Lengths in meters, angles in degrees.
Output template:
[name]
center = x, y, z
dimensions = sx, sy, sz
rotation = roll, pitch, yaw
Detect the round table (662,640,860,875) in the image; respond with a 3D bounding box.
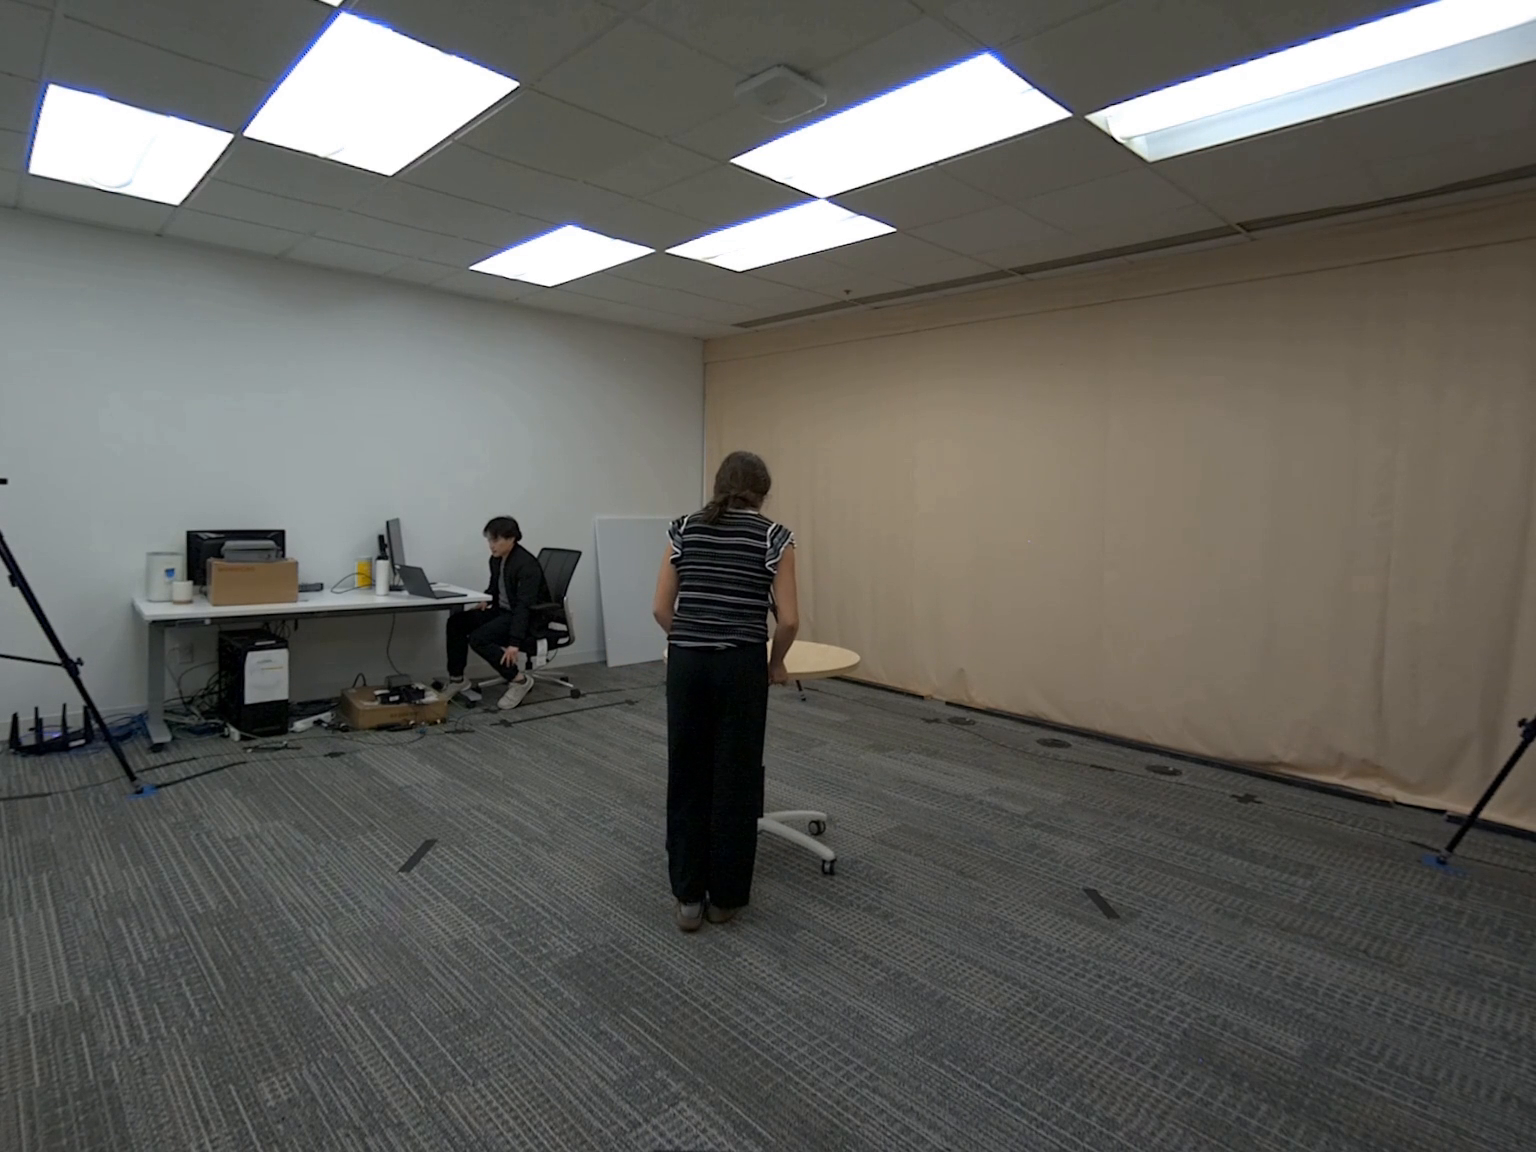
[round table]
center = -0.028, 0.696, 3.320
dimensions = 0.784, 0.784, 0.788
rotation = 1, 4, -1
